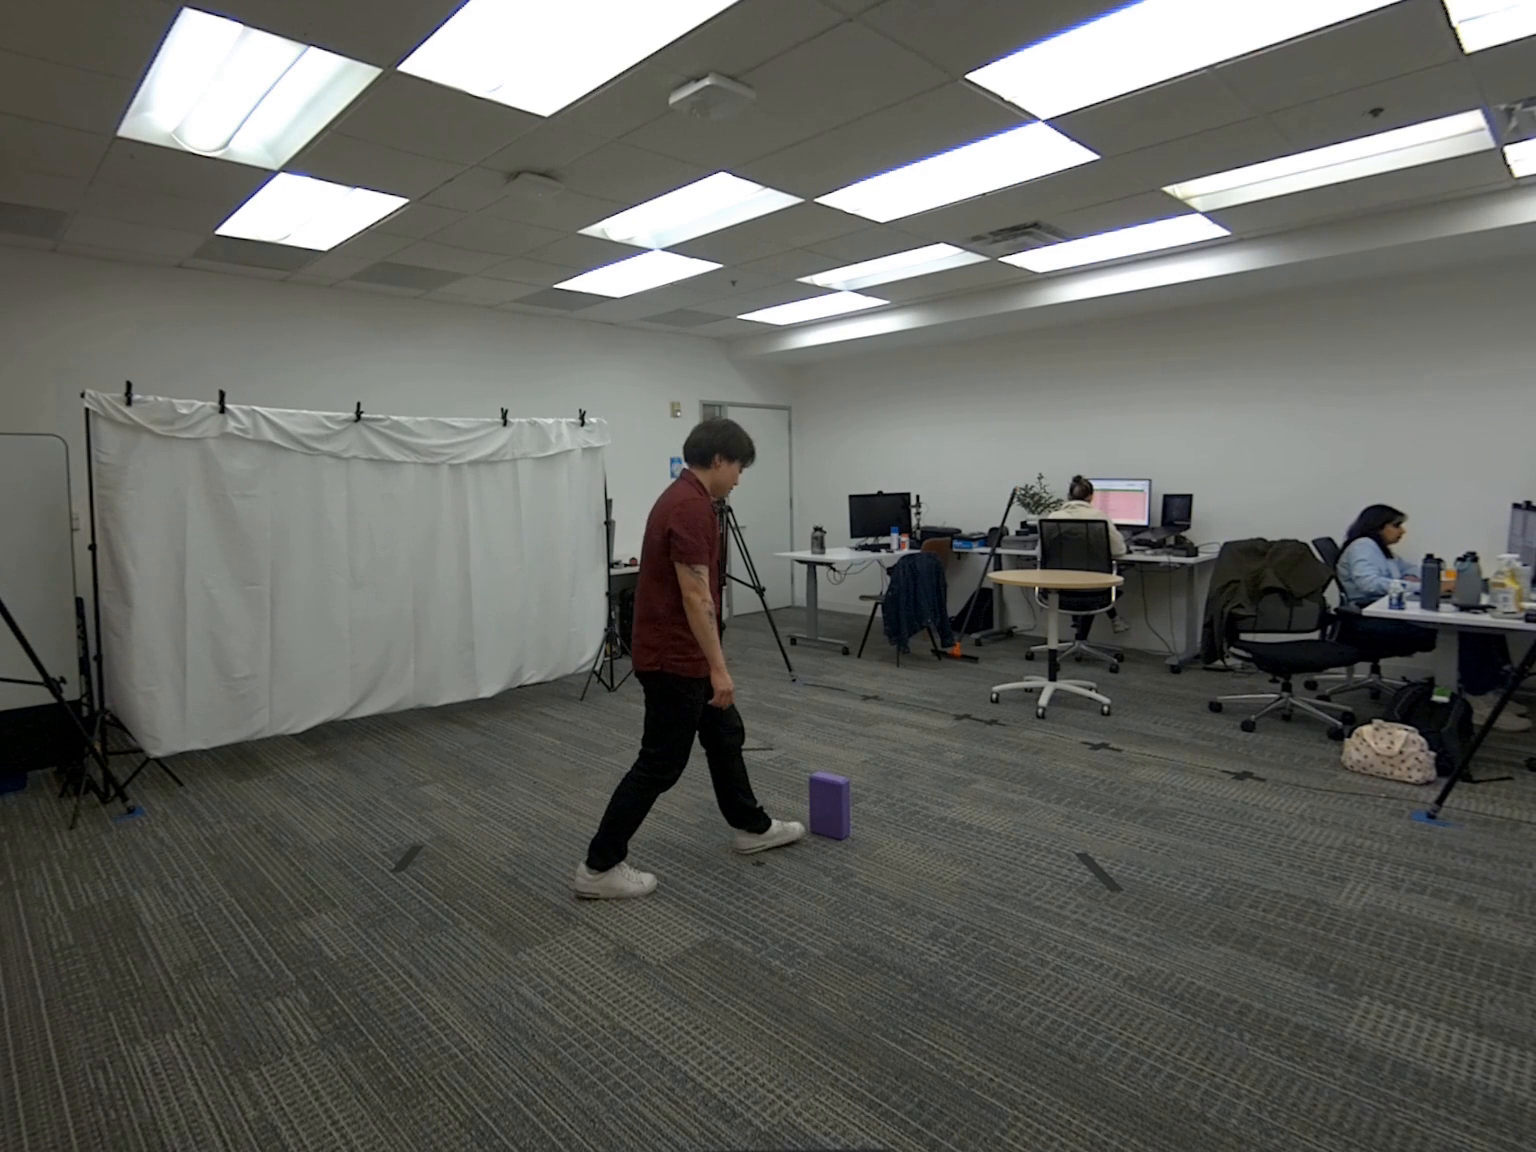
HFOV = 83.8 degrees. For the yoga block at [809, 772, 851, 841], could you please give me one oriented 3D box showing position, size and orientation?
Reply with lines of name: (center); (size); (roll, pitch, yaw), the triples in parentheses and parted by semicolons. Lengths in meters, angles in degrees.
yoga block: (0.244, 0.898, 3.354); (0.153, 0.228, 0.074); (3, 5, 35)
